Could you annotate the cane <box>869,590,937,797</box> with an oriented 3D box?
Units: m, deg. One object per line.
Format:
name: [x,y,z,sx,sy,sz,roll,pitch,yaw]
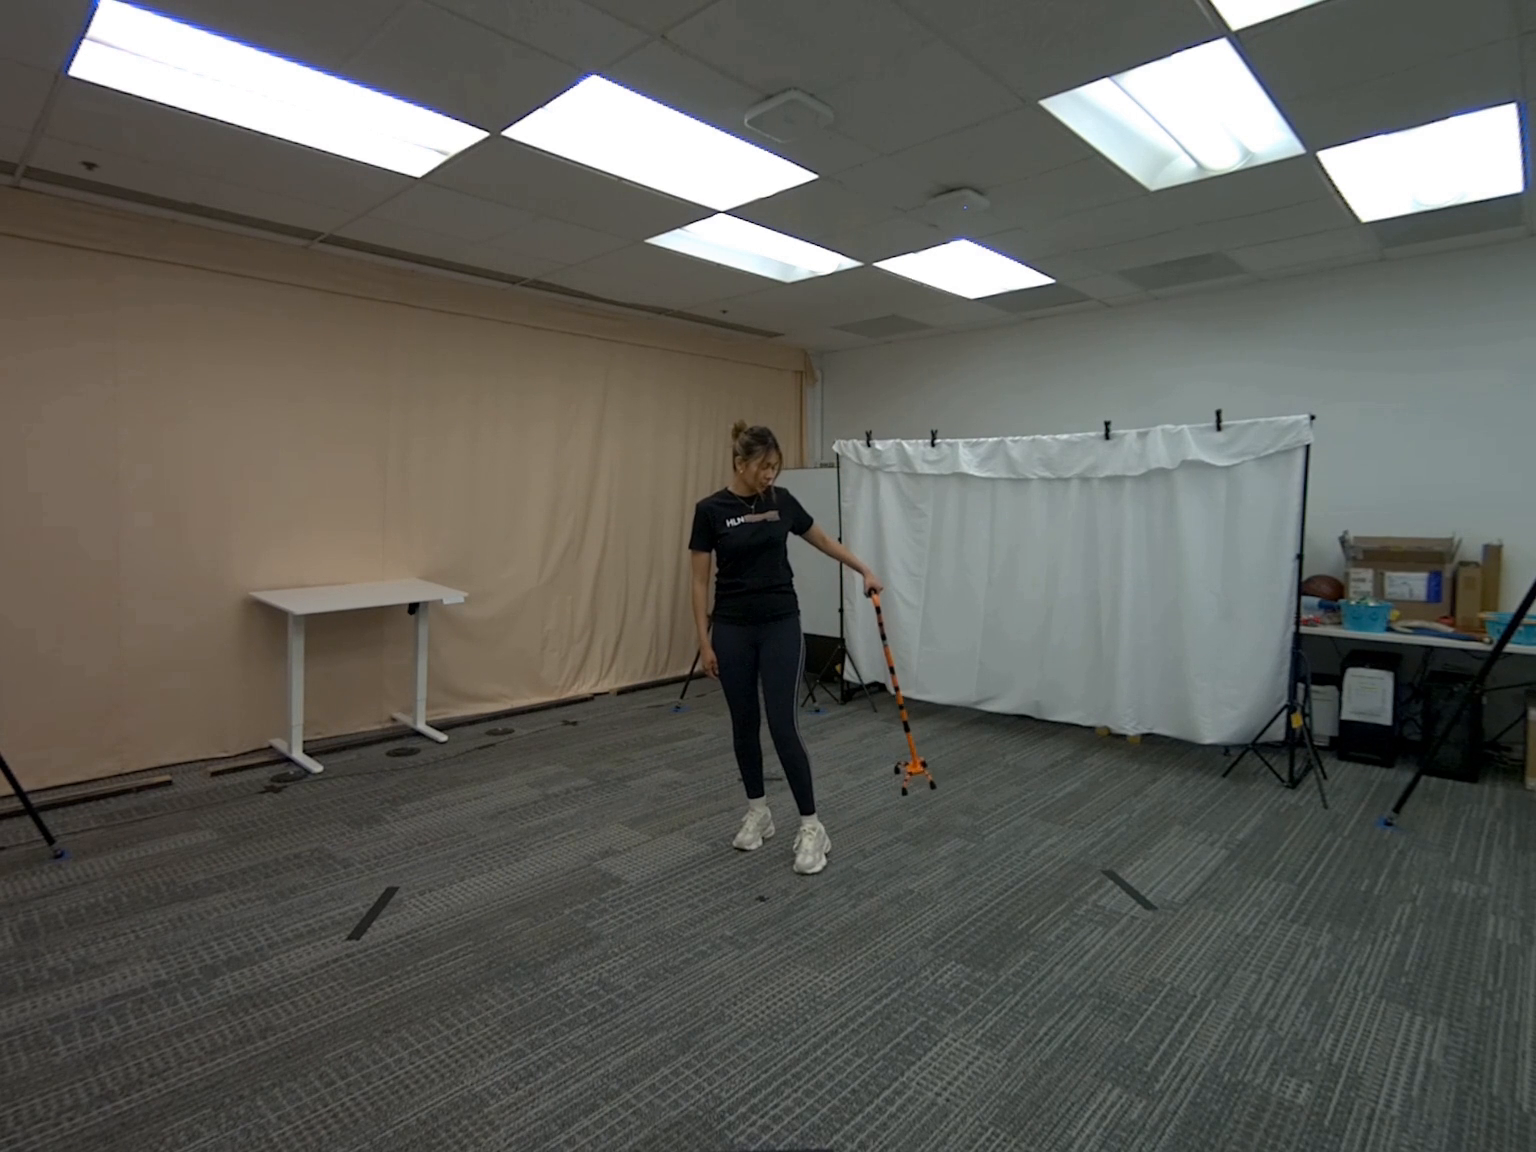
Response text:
cane: [0.532,0.487,3.549,0.152,0.896,0.208,-14,15,3]
